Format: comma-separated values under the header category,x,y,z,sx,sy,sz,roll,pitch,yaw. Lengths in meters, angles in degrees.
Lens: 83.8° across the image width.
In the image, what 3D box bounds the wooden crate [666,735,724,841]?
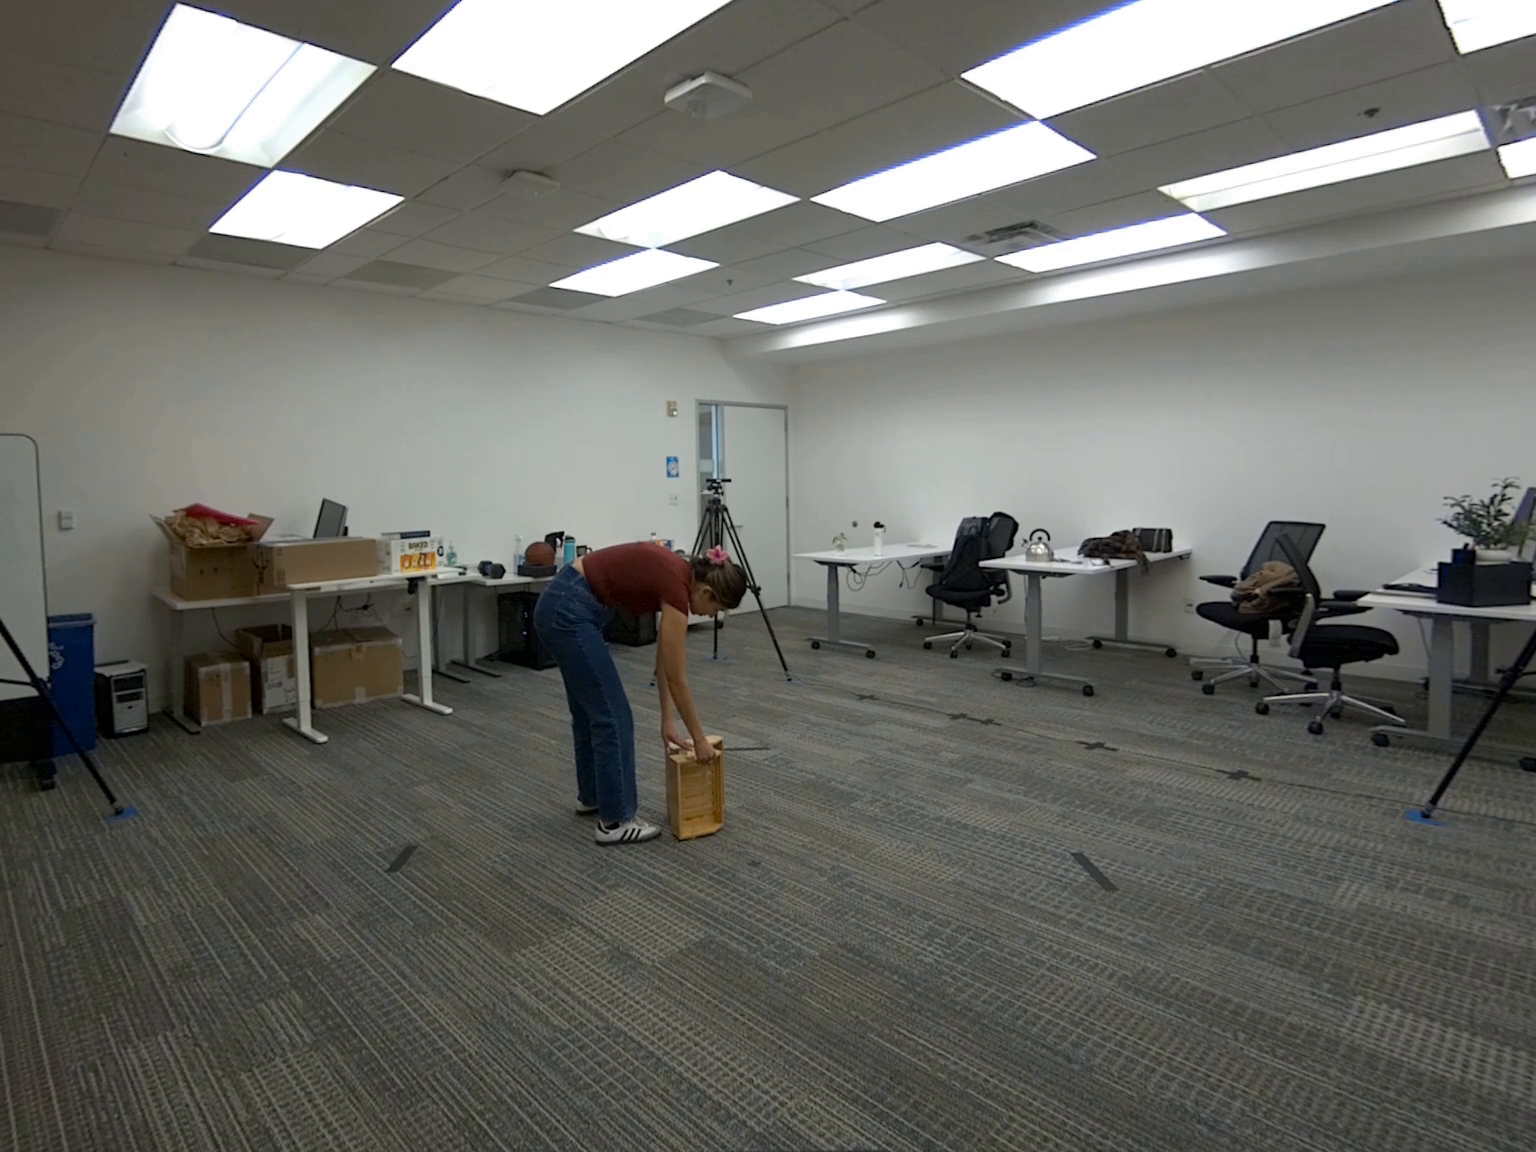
category,x,y,z,sx,sy,sz,roll,pitch,yaw
wooden crate,-0.271,0.838,3.454,0.295,0.323,0.280,-4,5,-27
